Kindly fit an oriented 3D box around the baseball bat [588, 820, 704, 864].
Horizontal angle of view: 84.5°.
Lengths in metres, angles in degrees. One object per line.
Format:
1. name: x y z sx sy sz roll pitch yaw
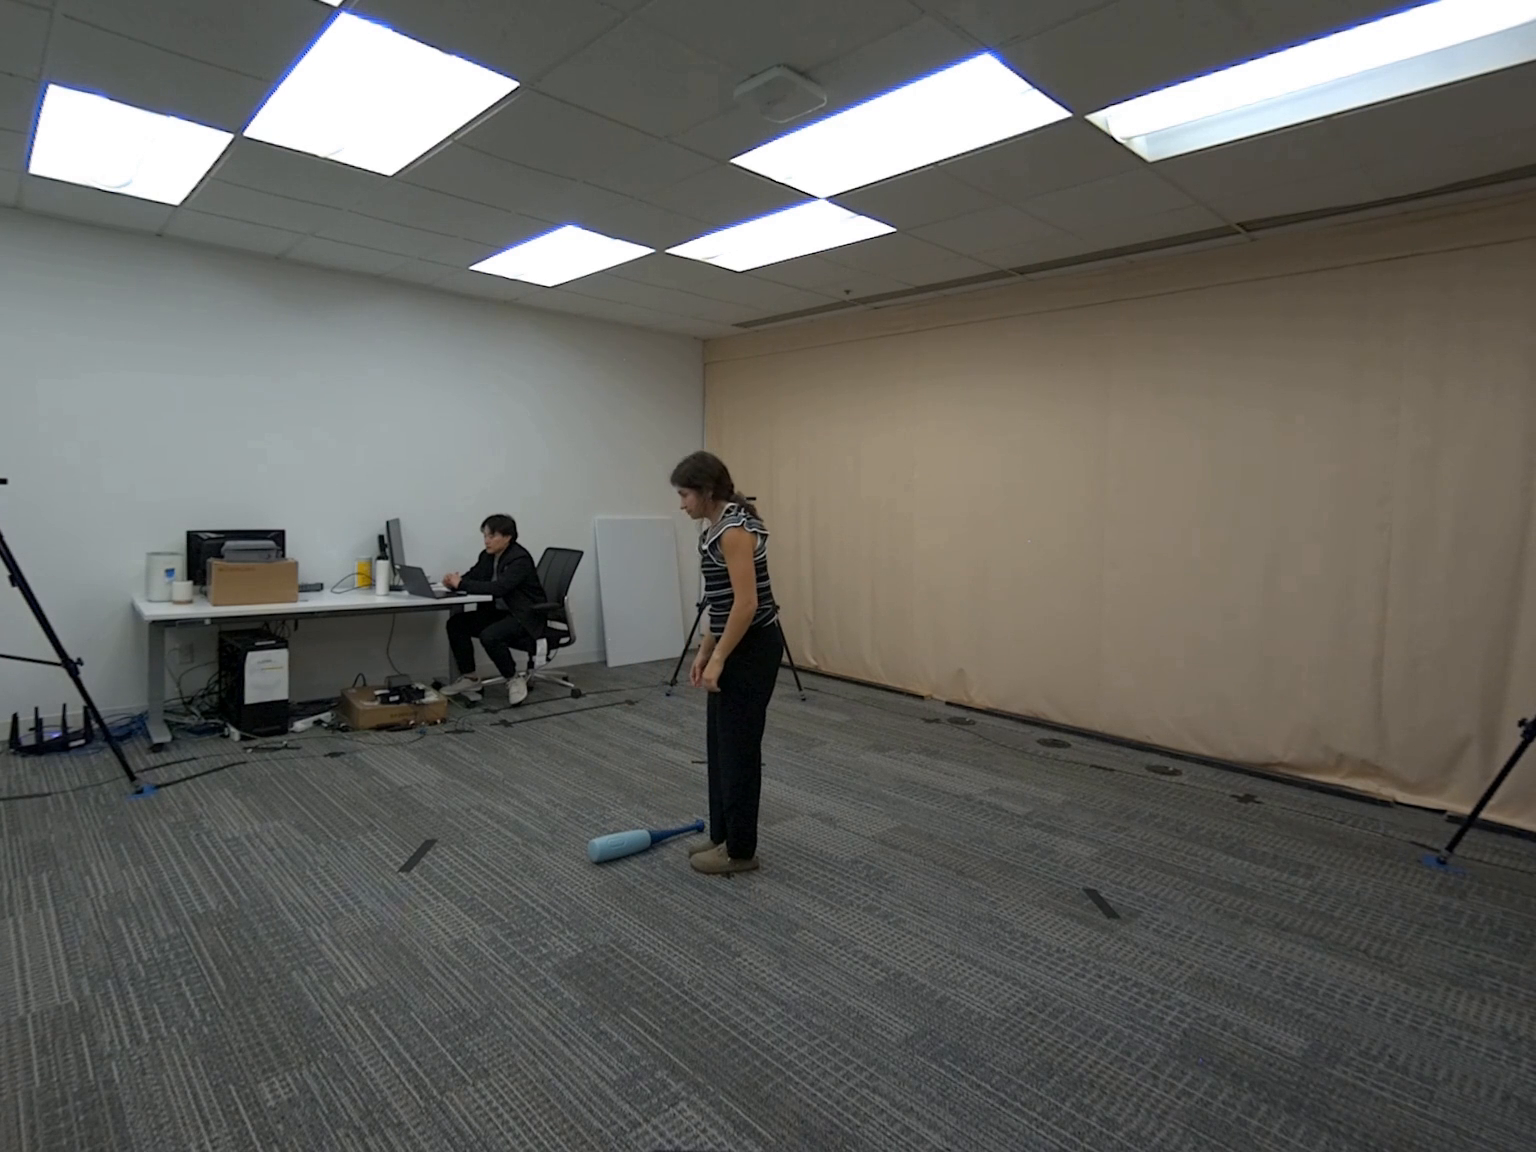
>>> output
1. baseball bat: -0.473 1.042 3.348 0.530 0.089 0.091 2 3 -43
